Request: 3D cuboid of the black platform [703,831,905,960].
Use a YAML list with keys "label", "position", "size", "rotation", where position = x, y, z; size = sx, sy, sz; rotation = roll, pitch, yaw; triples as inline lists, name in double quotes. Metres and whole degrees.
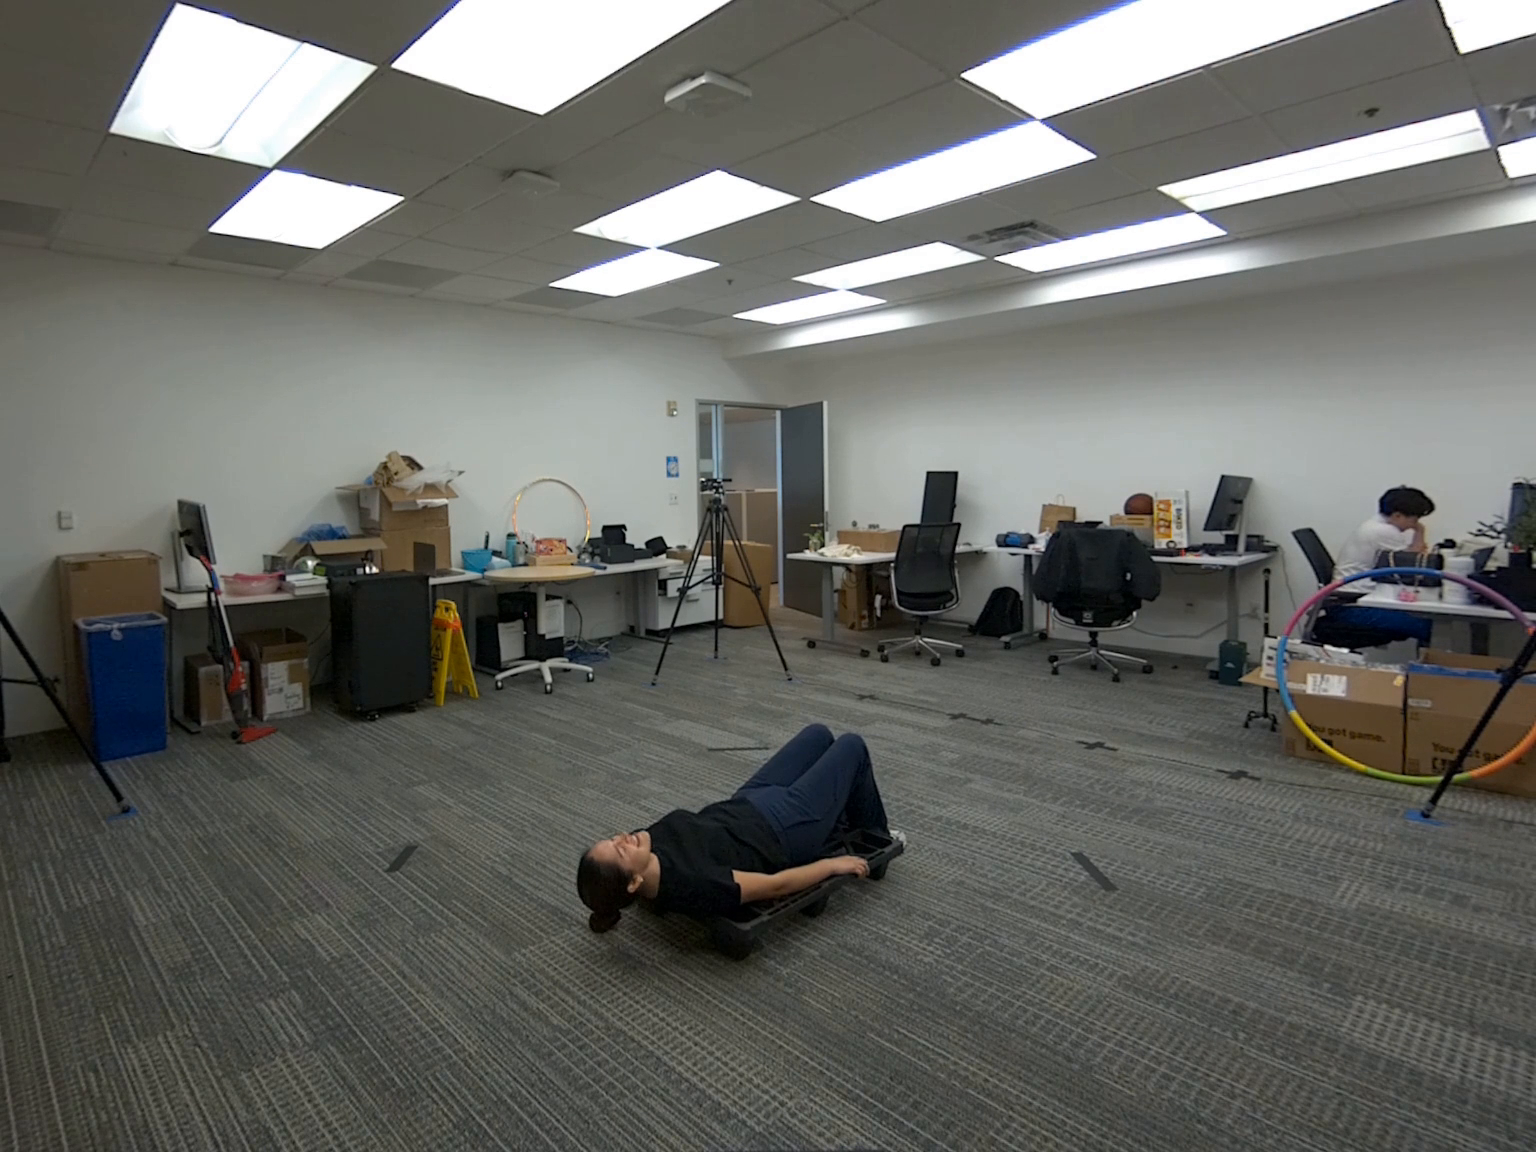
- label: "black platform"
  position: [-0.007, 1.005, 2.896]
  size: [0.624, 0.142, 0.785]
  rotation: [5, 9, 43]
